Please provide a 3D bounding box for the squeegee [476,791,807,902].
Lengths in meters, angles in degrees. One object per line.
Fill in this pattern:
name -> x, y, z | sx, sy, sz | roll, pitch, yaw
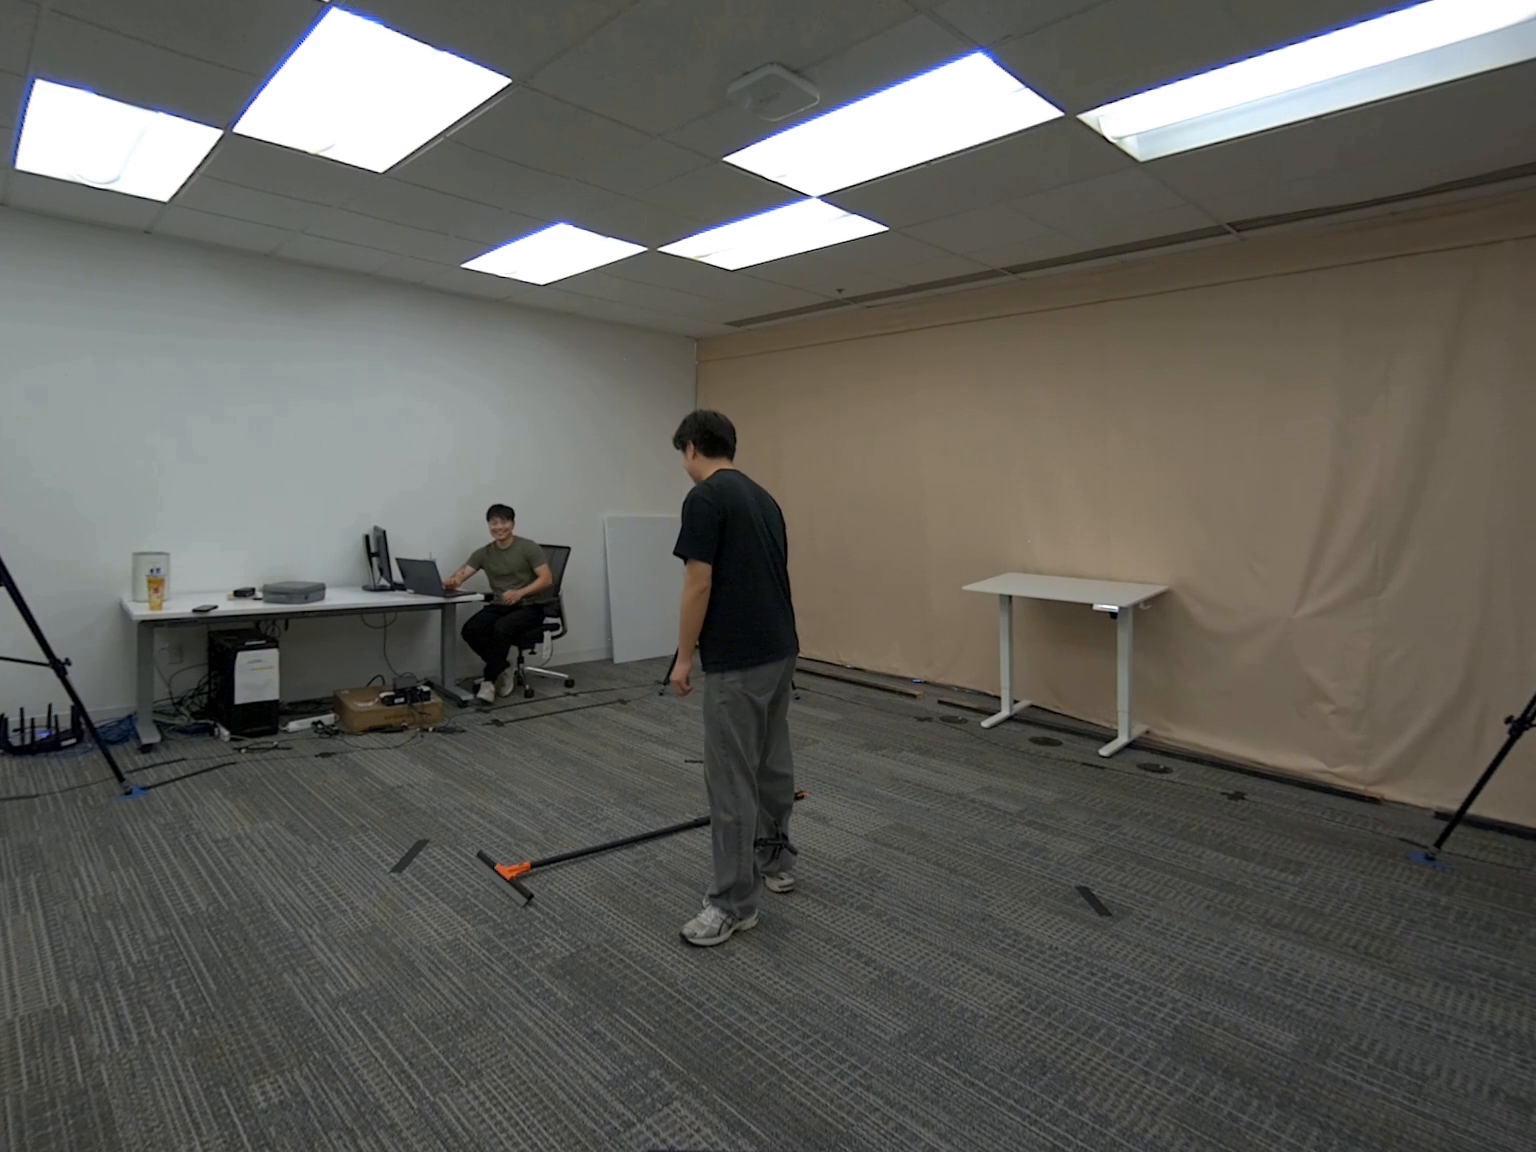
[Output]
squeegee -> -0.394, 1.030, 3.464 | 1.502, 0.053, 0.449 | -2, 6, -40
